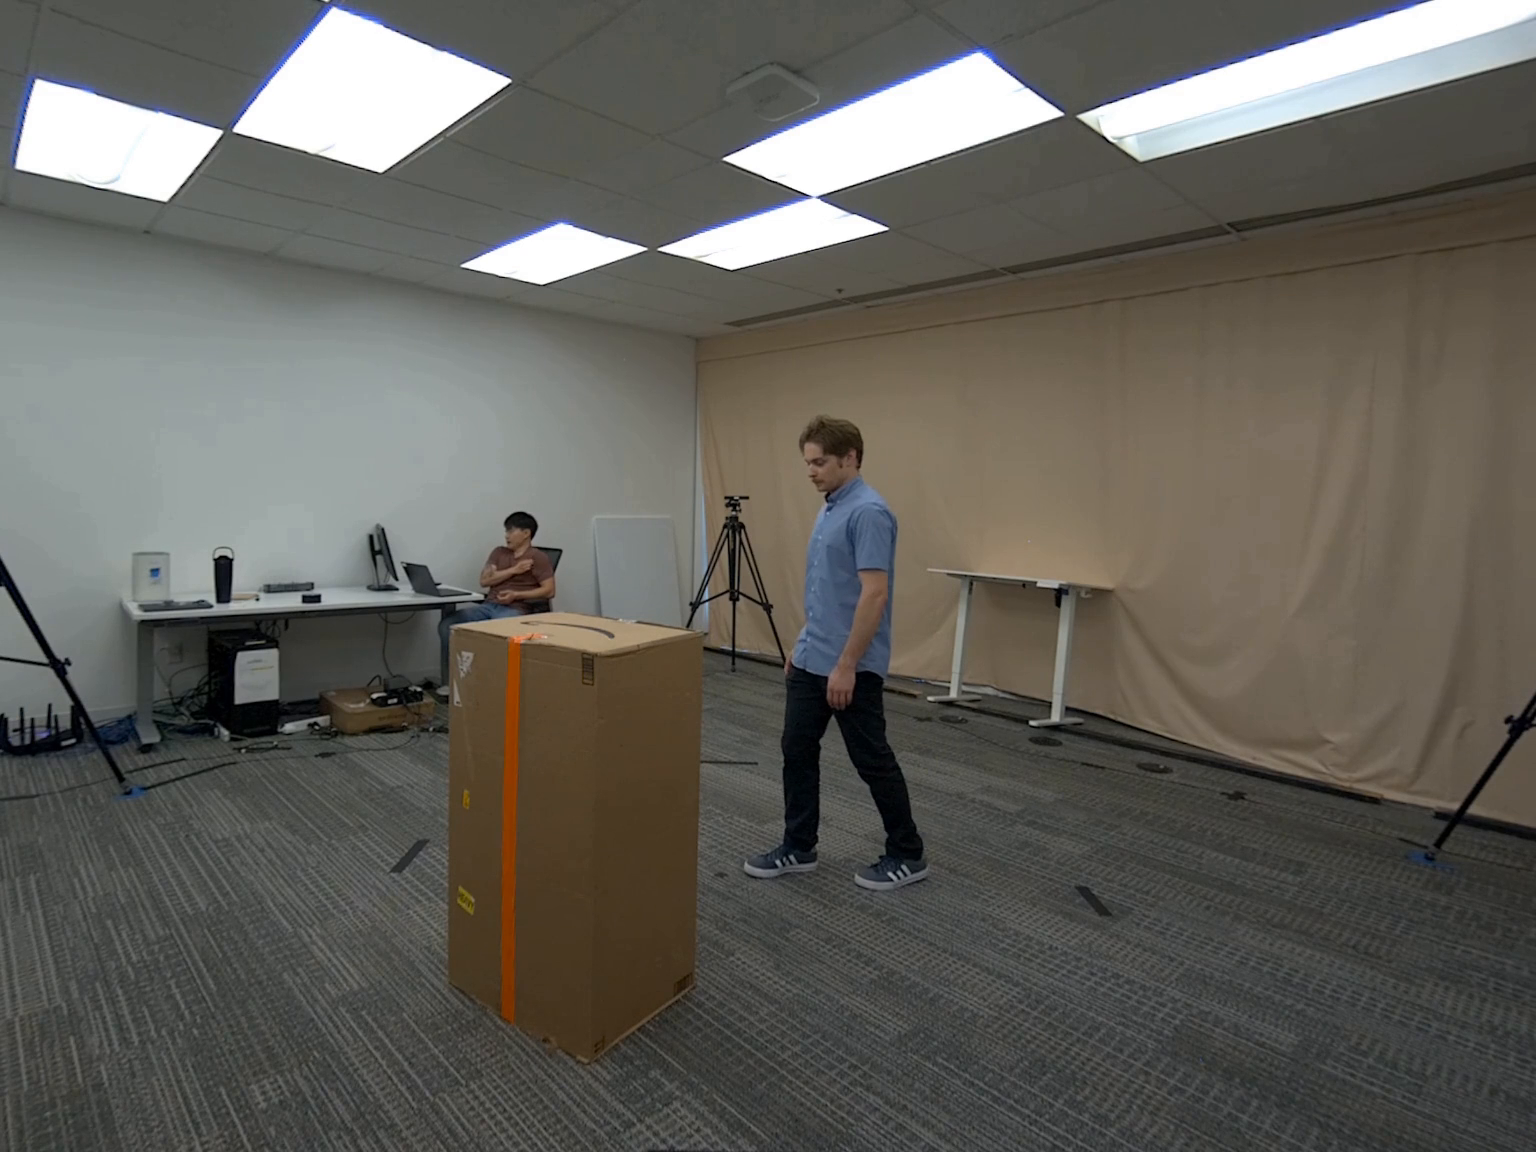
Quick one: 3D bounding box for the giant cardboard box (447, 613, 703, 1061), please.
[{"bbox_3d":[-0.549,0.657,2.352,0.591,1.023,0.417,4,5,36],"label":"giant cardboard box"}]
